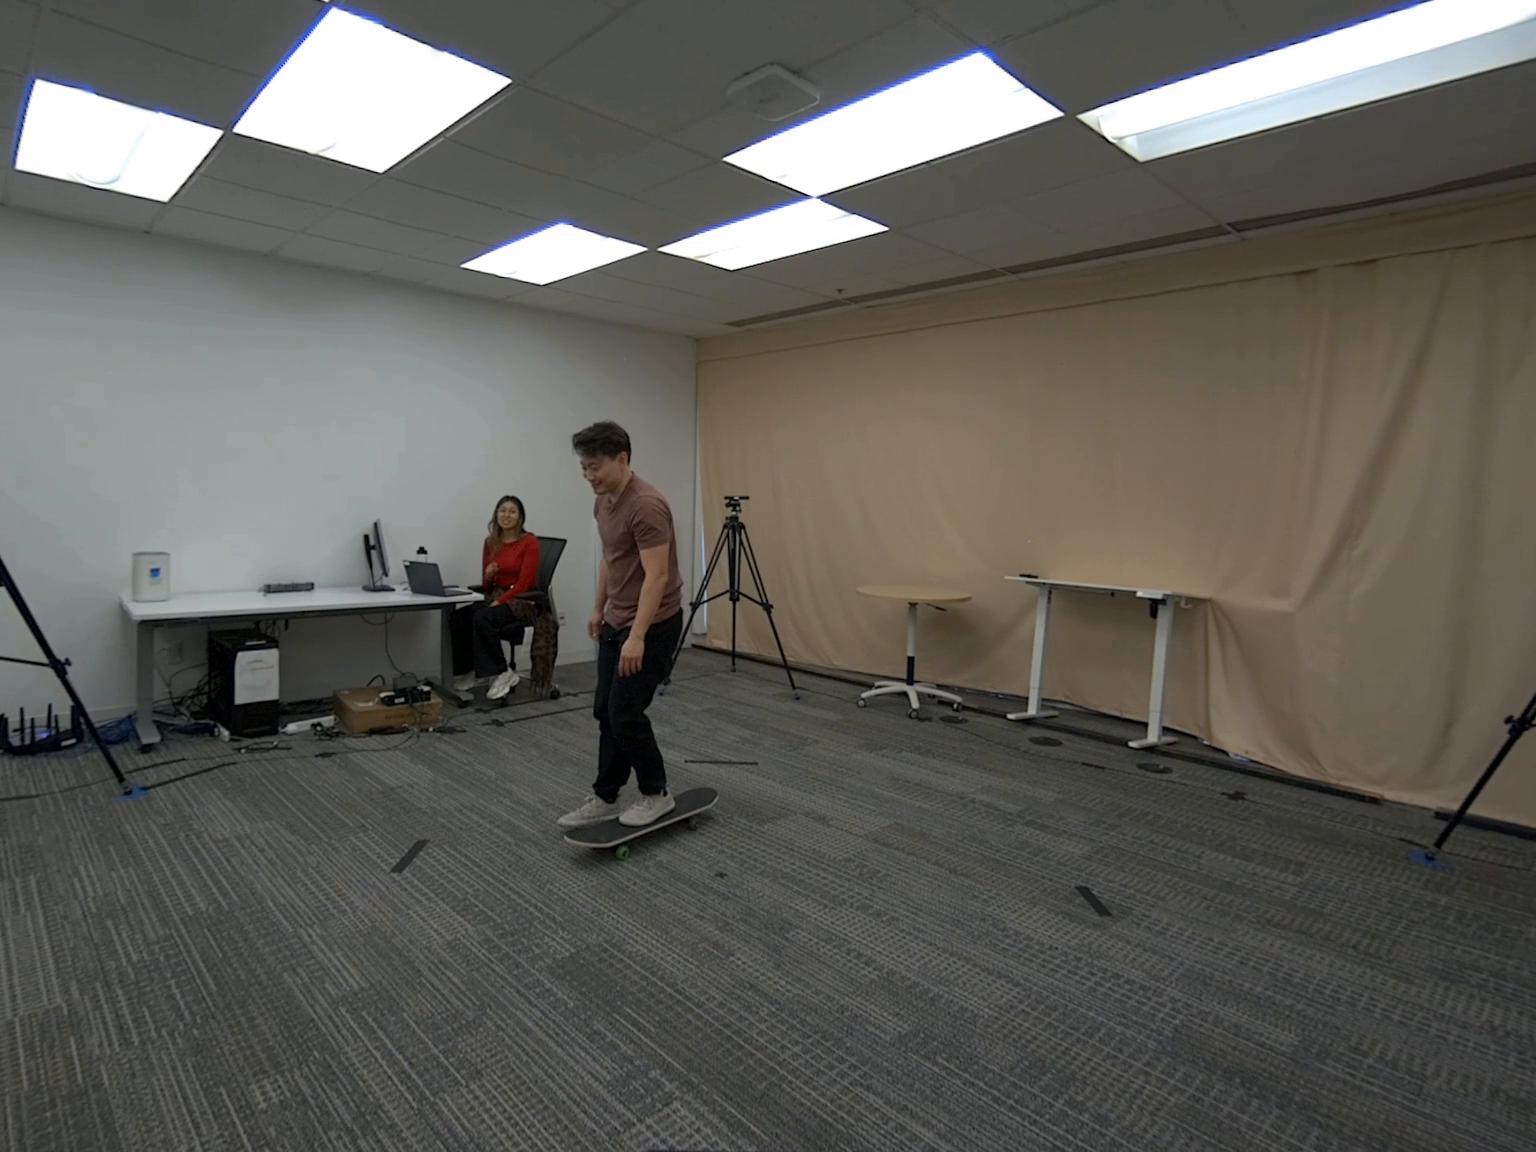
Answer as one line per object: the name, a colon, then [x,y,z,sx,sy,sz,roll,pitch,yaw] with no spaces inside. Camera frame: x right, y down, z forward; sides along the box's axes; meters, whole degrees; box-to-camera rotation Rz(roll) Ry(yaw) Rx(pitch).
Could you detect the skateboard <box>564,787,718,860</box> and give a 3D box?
skateboard: [-0.513,1.014,3.427,0.198,0.110,0.768,4,5,38]
